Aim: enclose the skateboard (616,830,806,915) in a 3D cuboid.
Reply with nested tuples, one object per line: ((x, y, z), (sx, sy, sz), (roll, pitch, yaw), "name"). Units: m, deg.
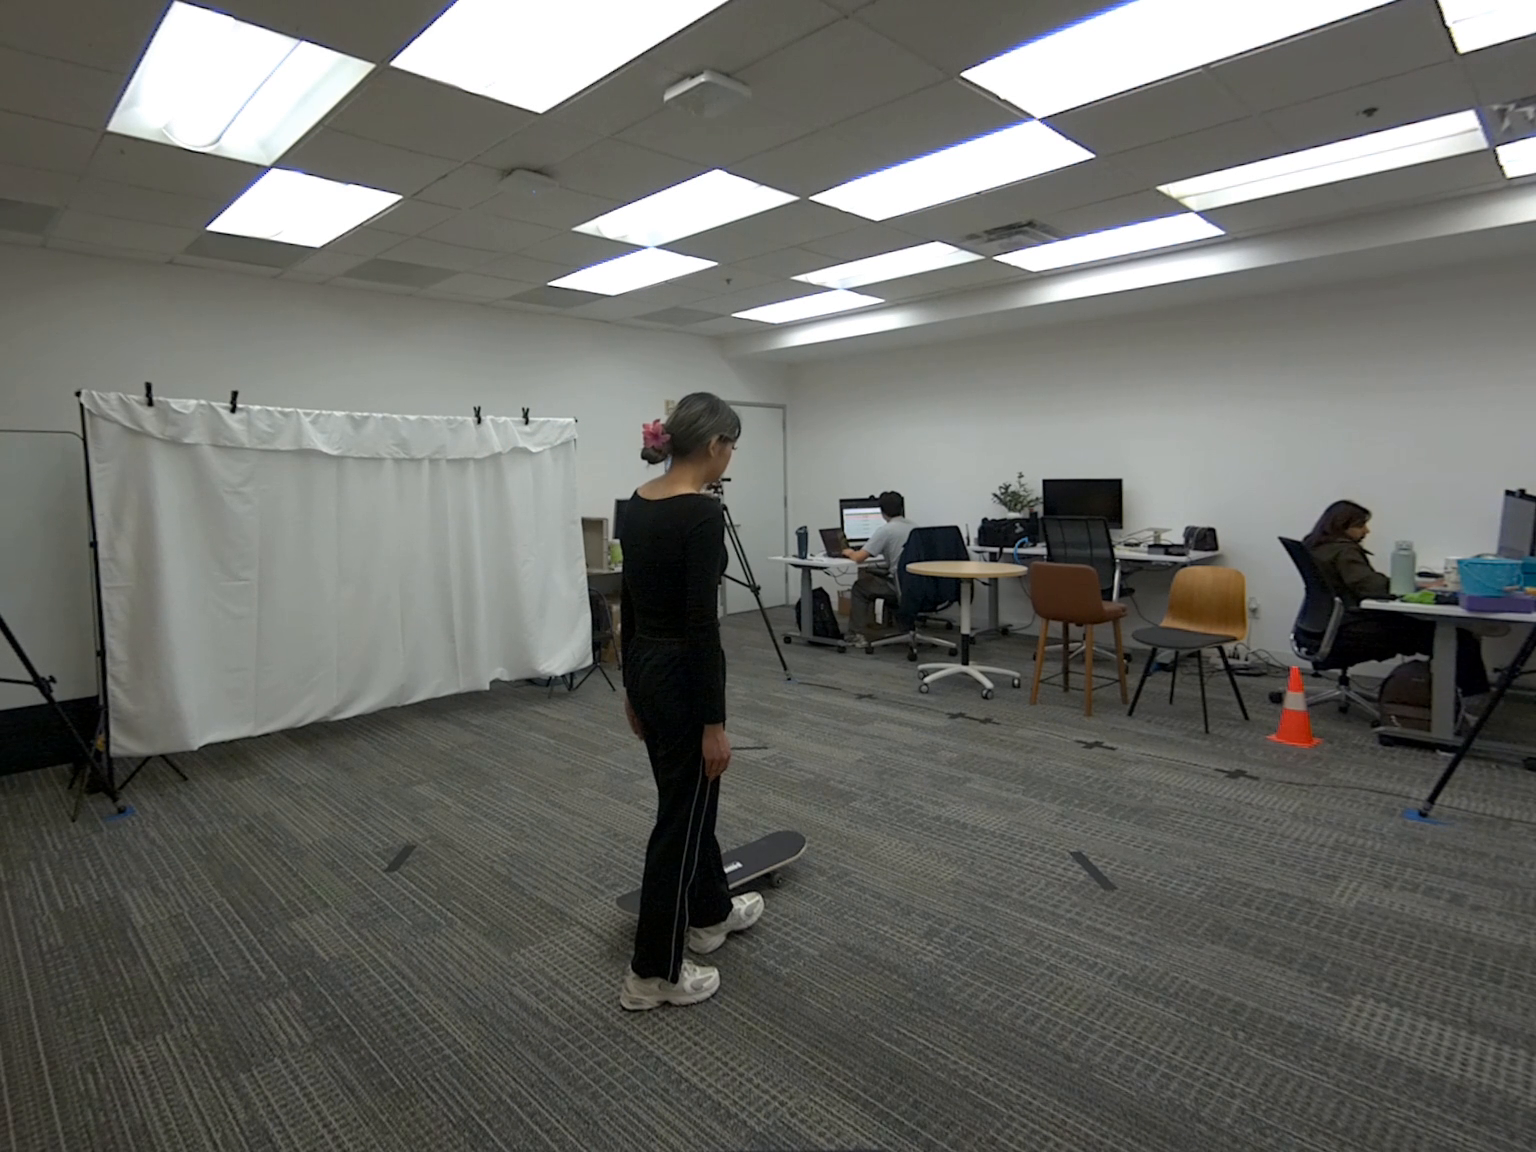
((-0.168, 1.021, 2.839), (0.765, 0.110, 0.199), (-7, 8, -43), "skateboard")
